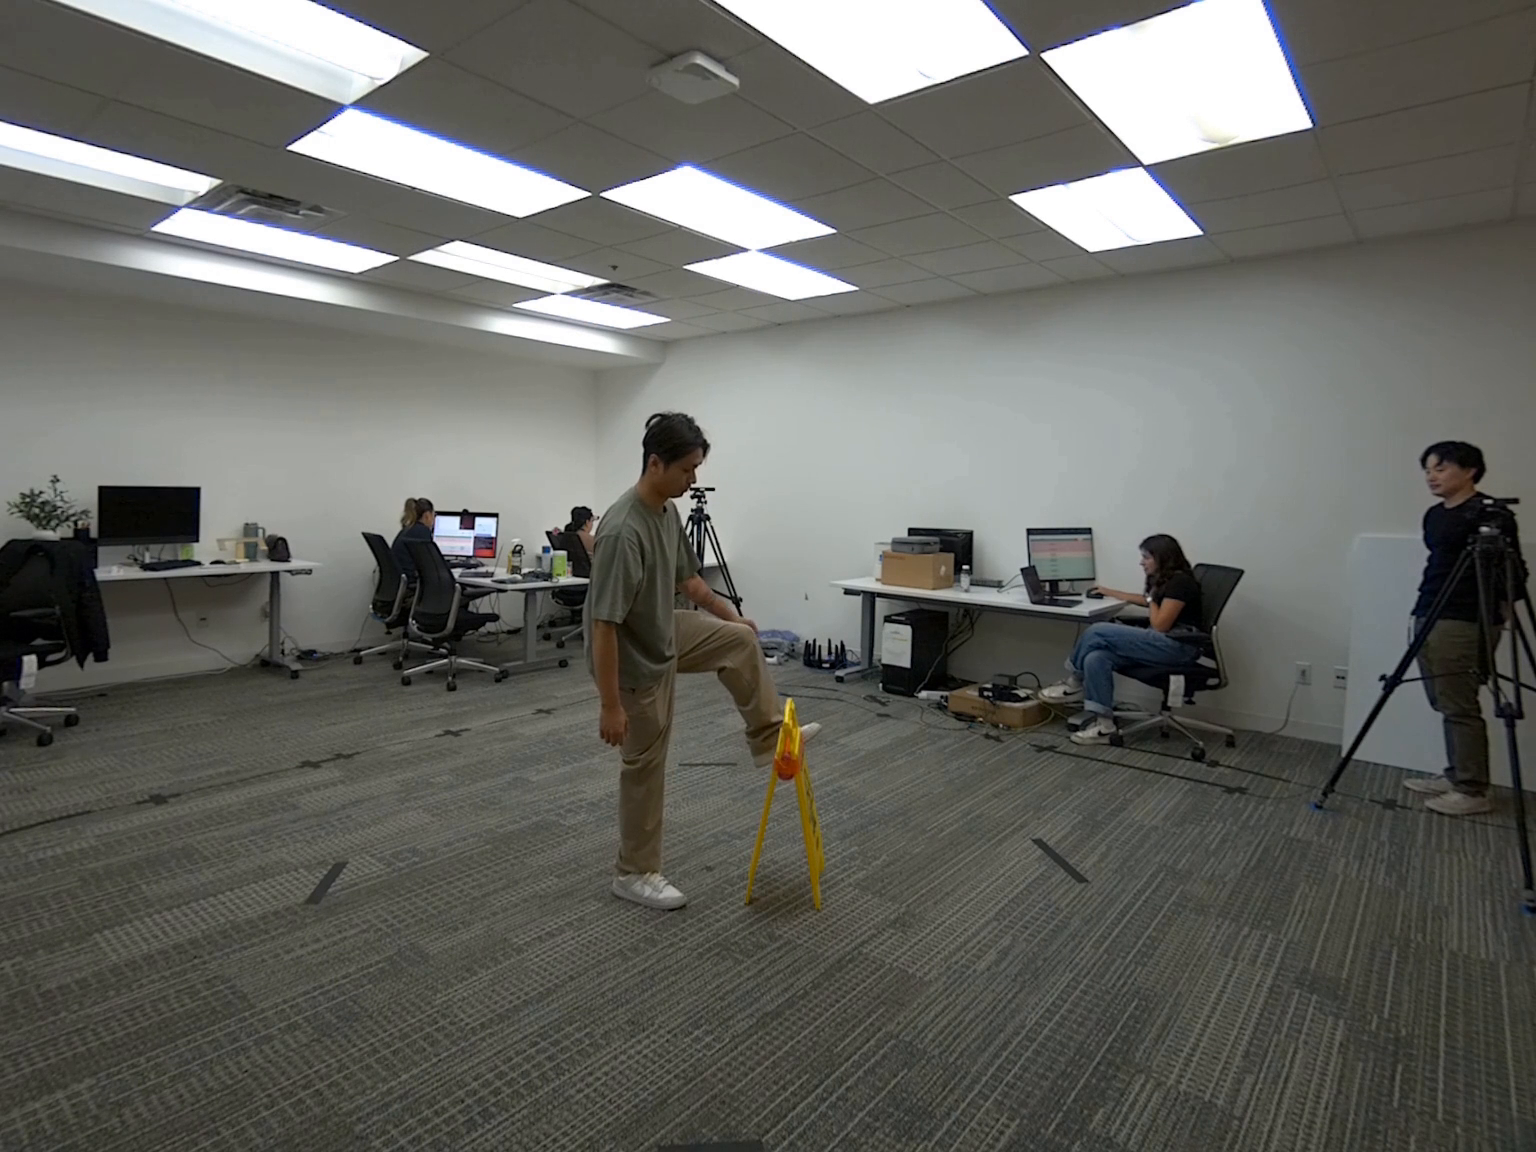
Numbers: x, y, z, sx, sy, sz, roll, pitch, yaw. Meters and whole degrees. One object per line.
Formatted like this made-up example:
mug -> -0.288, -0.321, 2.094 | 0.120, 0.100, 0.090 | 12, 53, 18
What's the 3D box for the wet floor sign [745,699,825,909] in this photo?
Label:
wet floor sign -> 0.061, 0.760, 2.889 | 0.292, 0.637, 0.284 | 2, 16, 5
